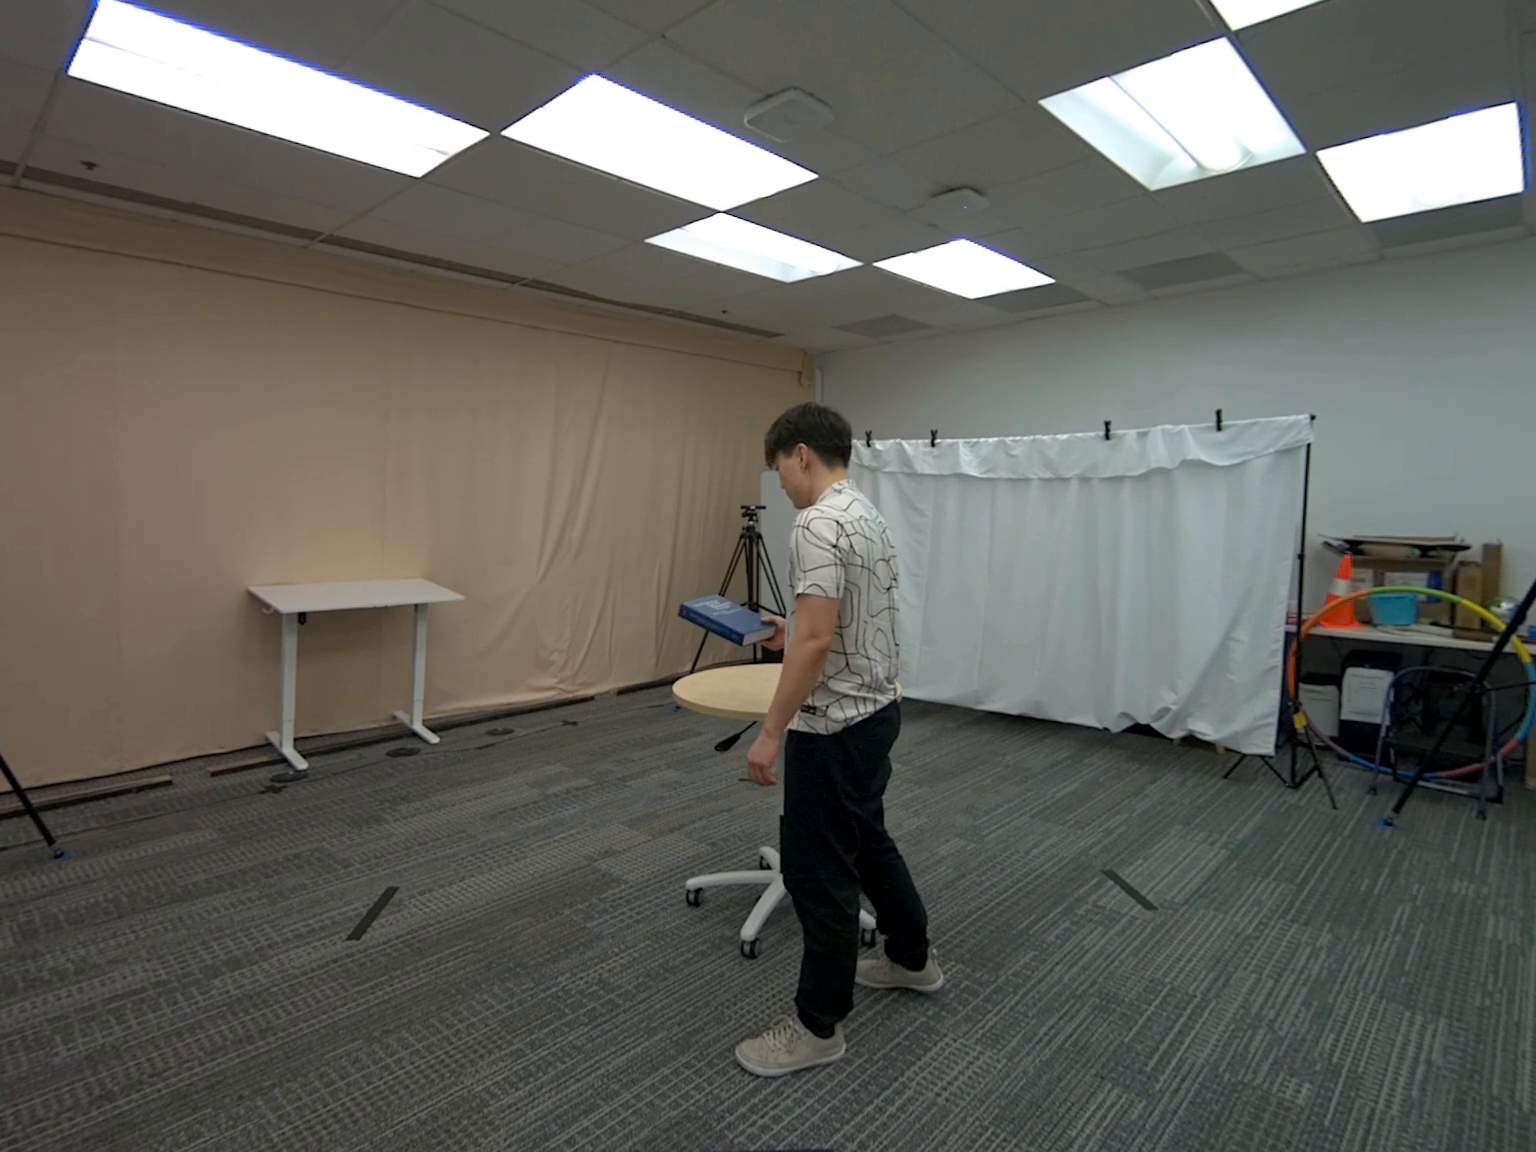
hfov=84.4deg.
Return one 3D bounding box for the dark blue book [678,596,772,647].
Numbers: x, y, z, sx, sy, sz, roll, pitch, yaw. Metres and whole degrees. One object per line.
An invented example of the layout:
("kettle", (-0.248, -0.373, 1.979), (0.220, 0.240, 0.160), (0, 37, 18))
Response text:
("dark blue book", (-0.111, 0.129, 2.458), (0.254, 0.045, 0.159), (22, 21, 34))
